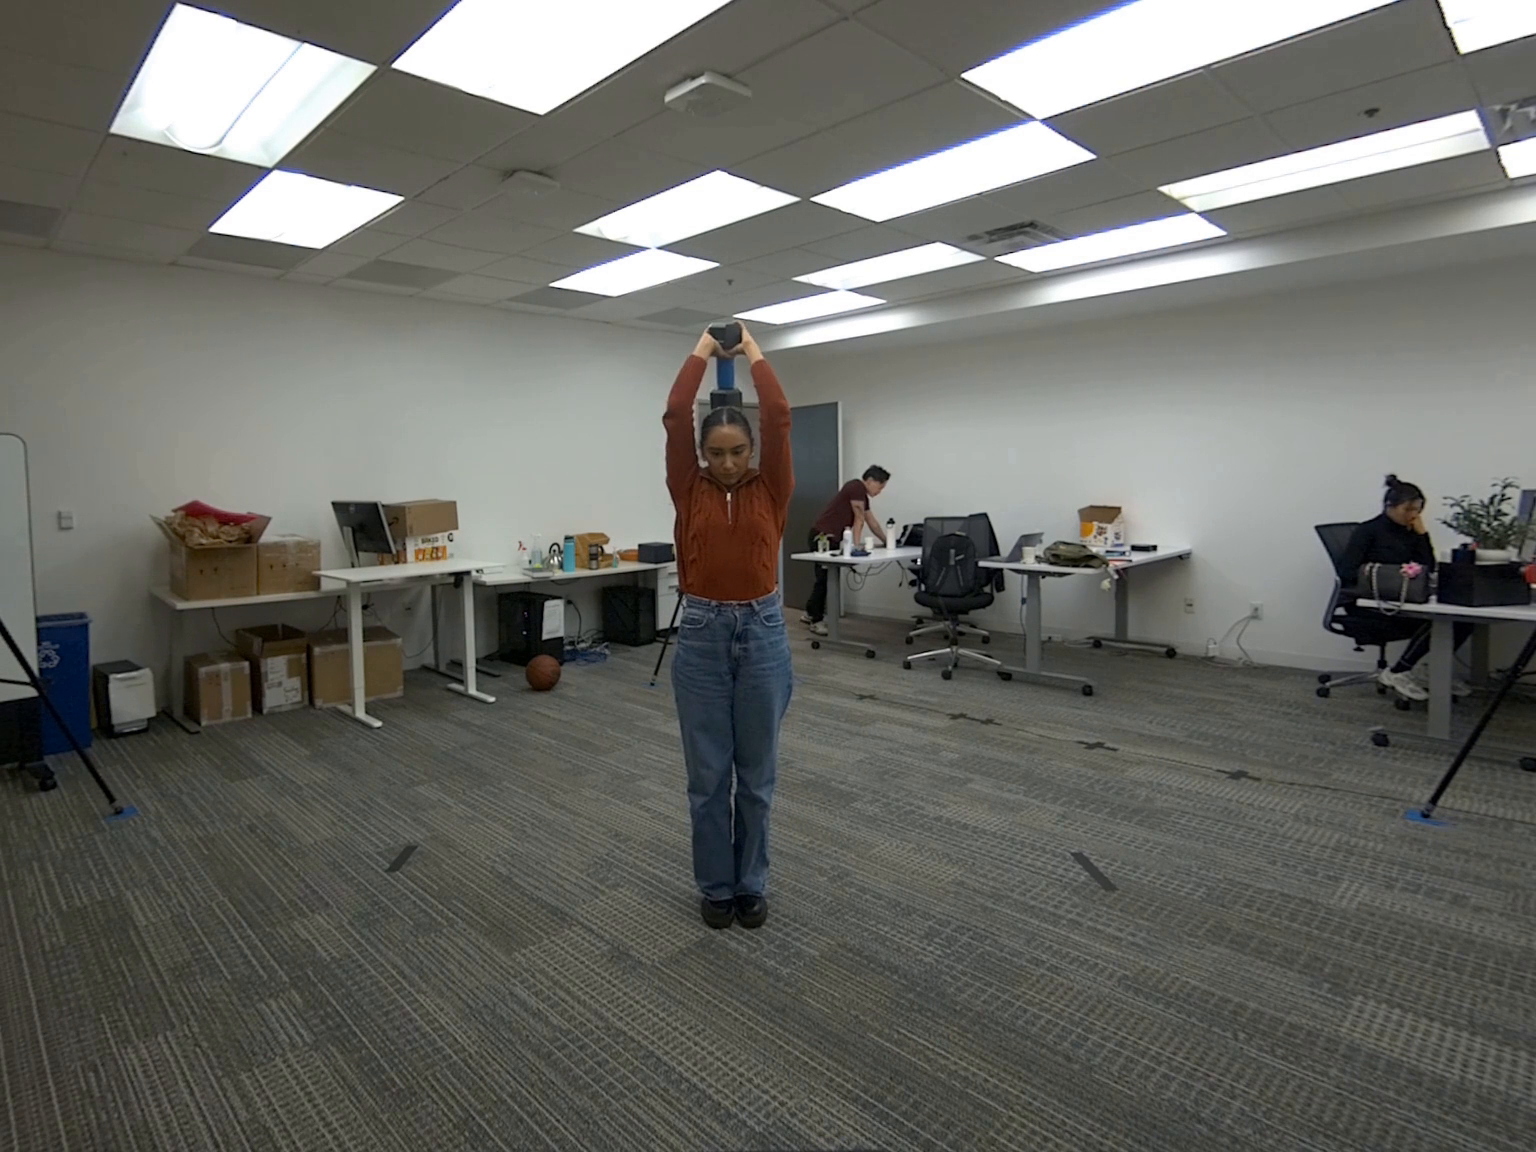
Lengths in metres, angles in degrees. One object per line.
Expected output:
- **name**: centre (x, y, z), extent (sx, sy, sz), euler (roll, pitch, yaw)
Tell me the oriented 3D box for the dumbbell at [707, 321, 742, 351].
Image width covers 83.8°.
- **dumbbell**: centre (-0.137, -0.689, 2.839), extent (0.108, 0.289, 0.126), euler (-4, 17, -11)
